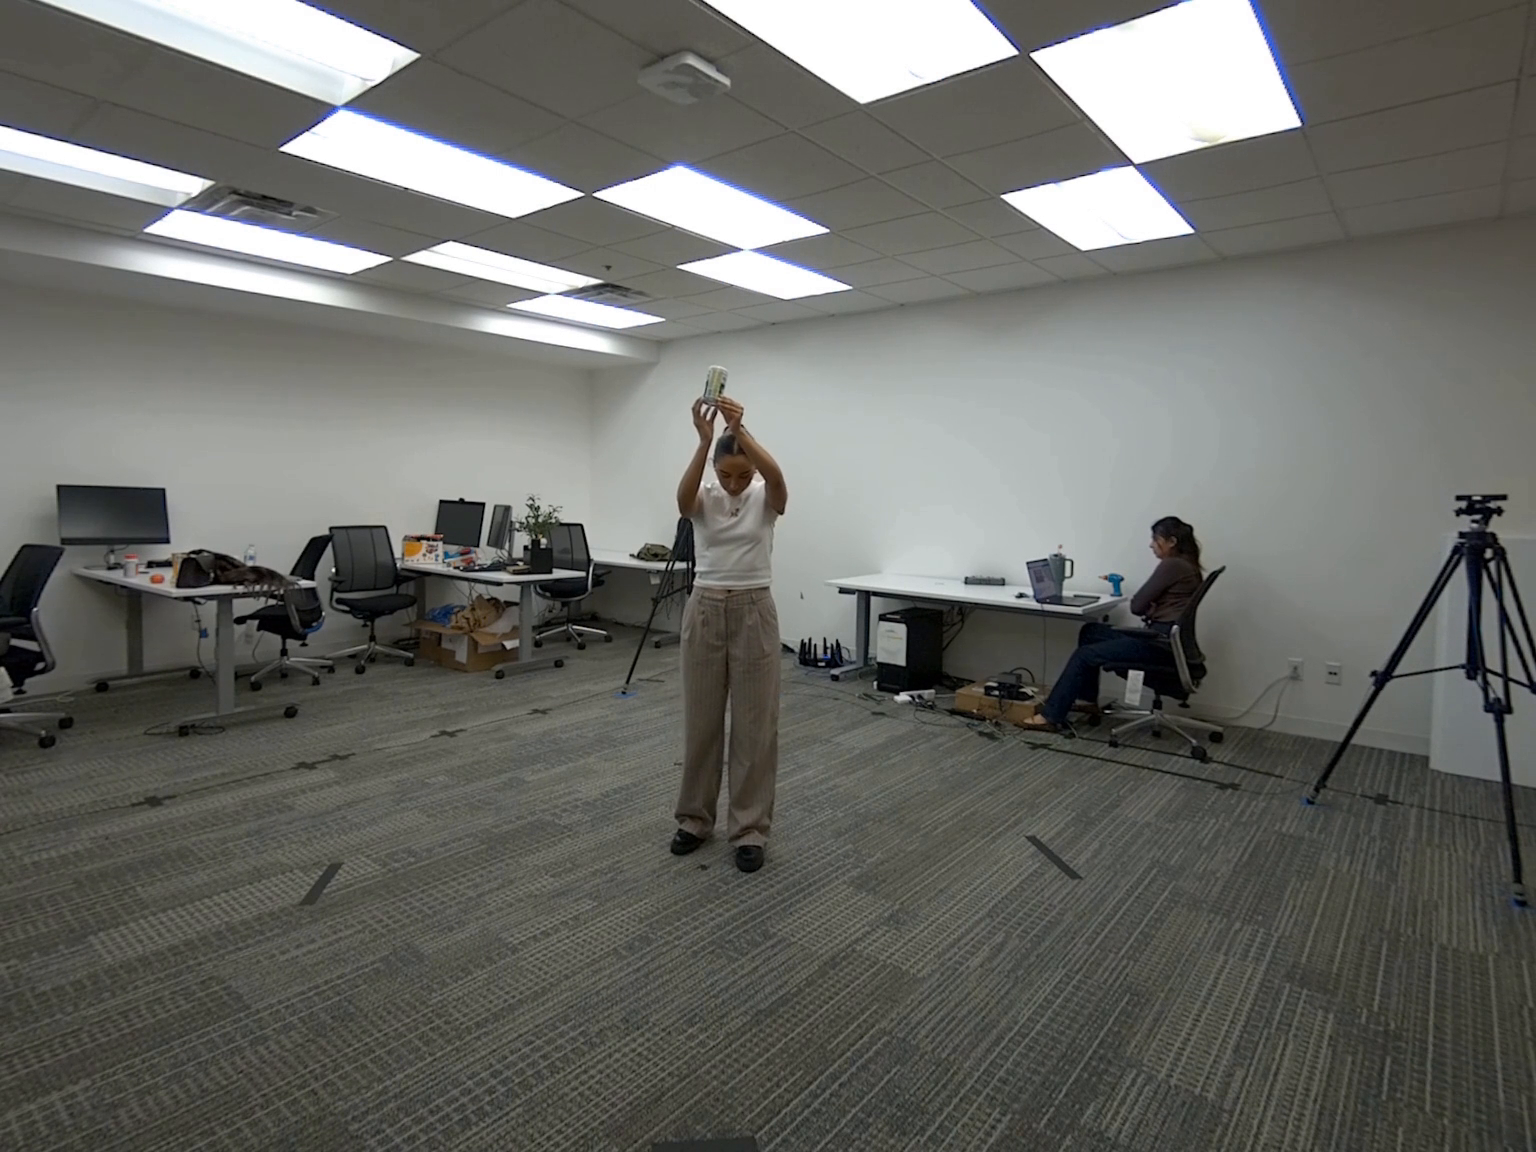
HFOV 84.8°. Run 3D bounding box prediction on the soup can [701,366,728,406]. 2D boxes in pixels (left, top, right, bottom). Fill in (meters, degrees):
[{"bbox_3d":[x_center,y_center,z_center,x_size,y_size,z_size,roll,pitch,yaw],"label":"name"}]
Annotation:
[{"bbox_3d":[-0.187,-0.630,2.804,0.067,0.122,0.067,11,-4,-1],"label":"soup can"}]
